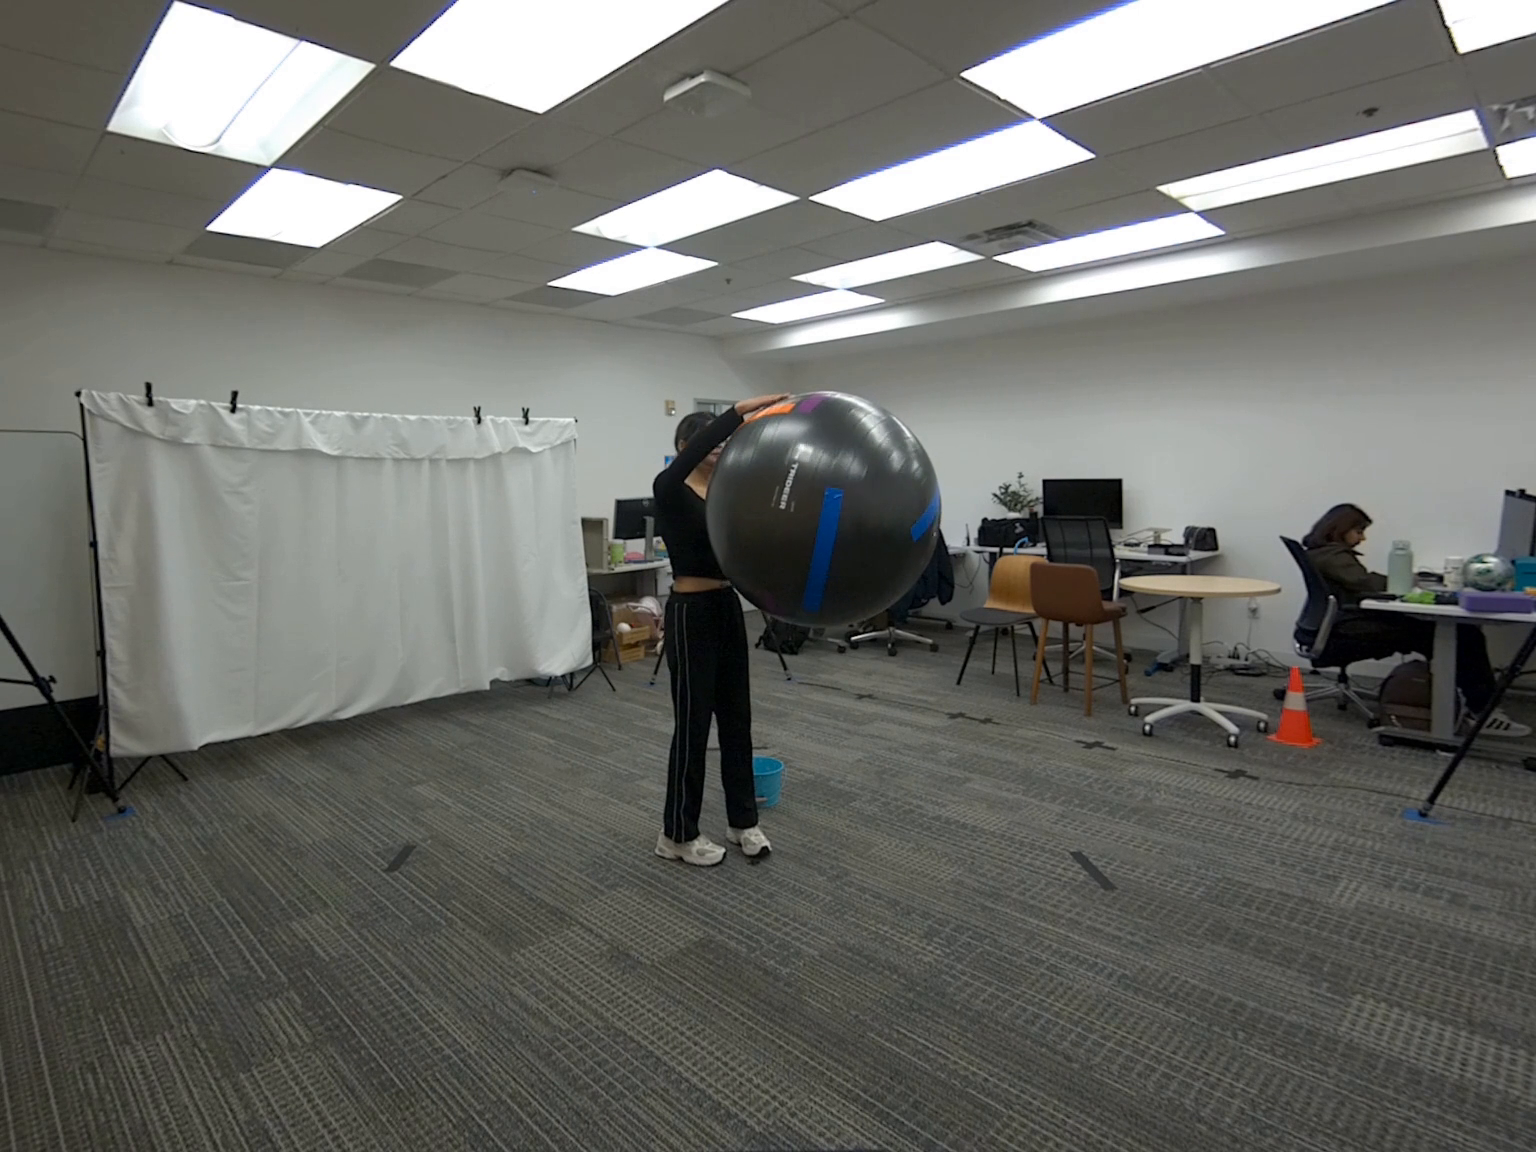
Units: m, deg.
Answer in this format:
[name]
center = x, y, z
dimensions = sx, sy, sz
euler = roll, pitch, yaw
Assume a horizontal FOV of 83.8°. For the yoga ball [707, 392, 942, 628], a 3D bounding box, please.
[yoga ball]
center = 0.176, -0.209, 2.764
dimensions = 0.757, 0.755, 0.762
euler = -1, 5, -2
